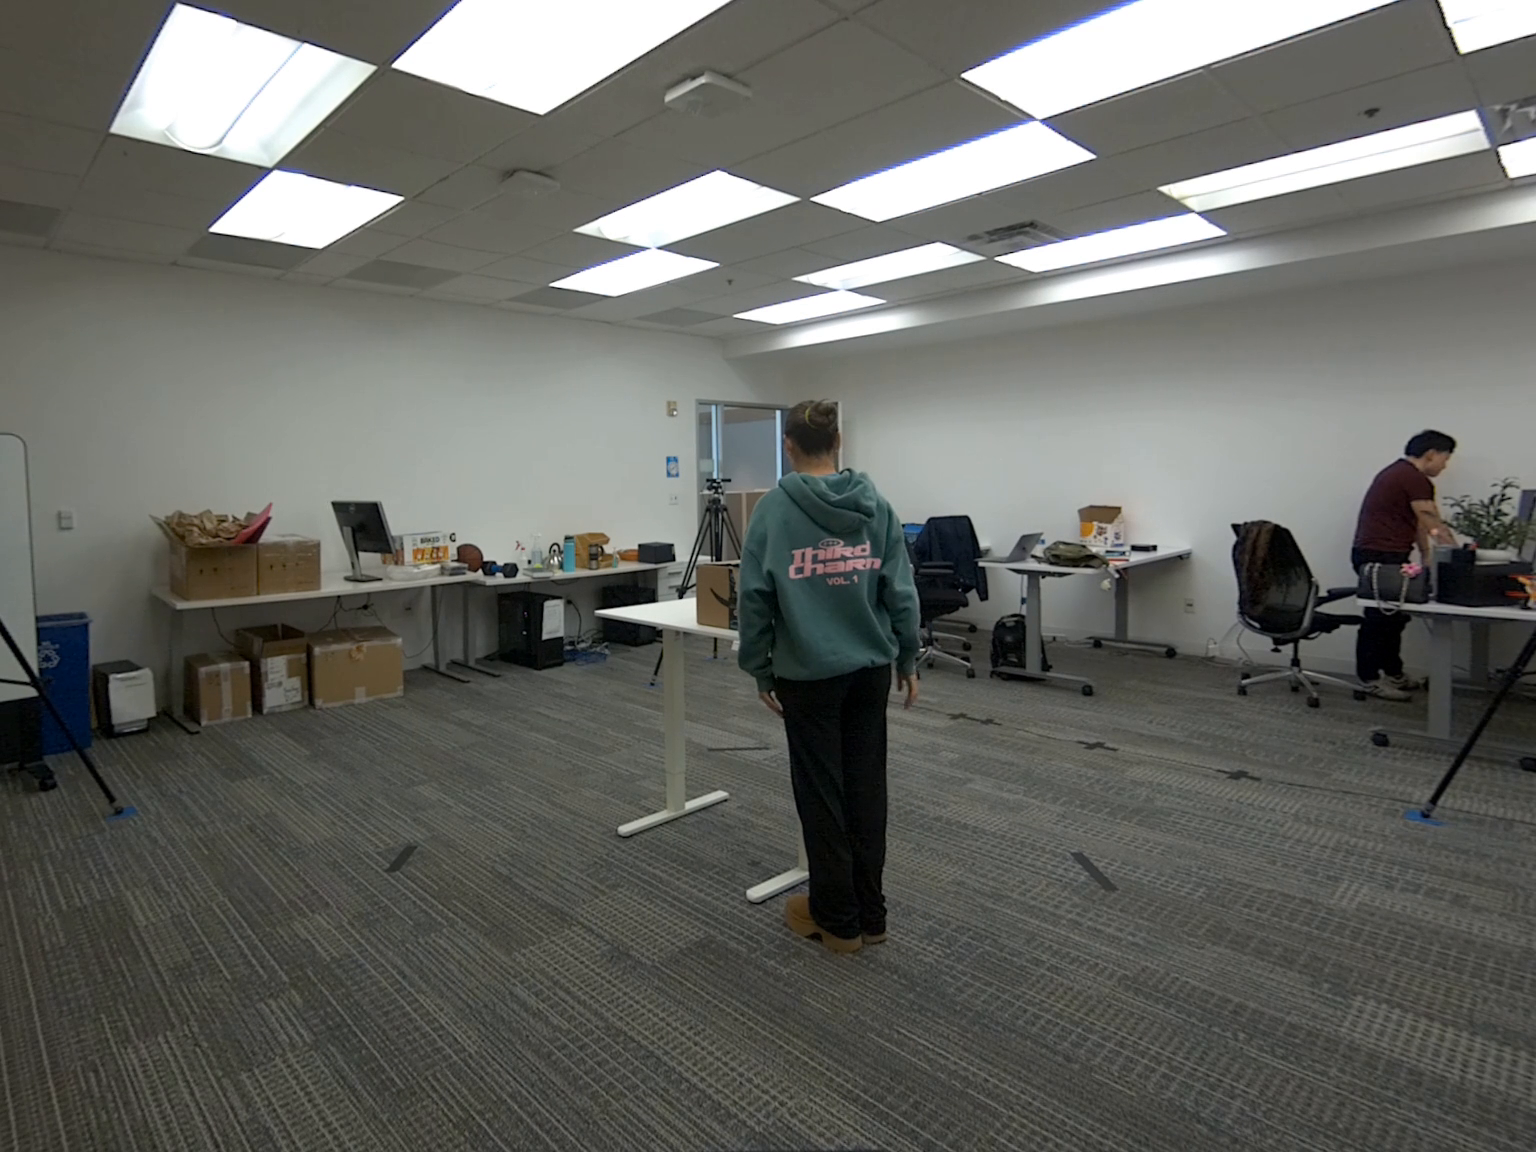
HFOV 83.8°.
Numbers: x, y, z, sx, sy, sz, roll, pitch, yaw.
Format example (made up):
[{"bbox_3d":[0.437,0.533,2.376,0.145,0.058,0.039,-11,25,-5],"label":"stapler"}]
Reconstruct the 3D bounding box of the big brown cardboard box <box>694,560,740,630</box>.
[{"bbox_3d":[0.094,0.054,3.077,0.574,0.232,0.430,-8,8,-44],"label":"big brown cardboard box"}]
